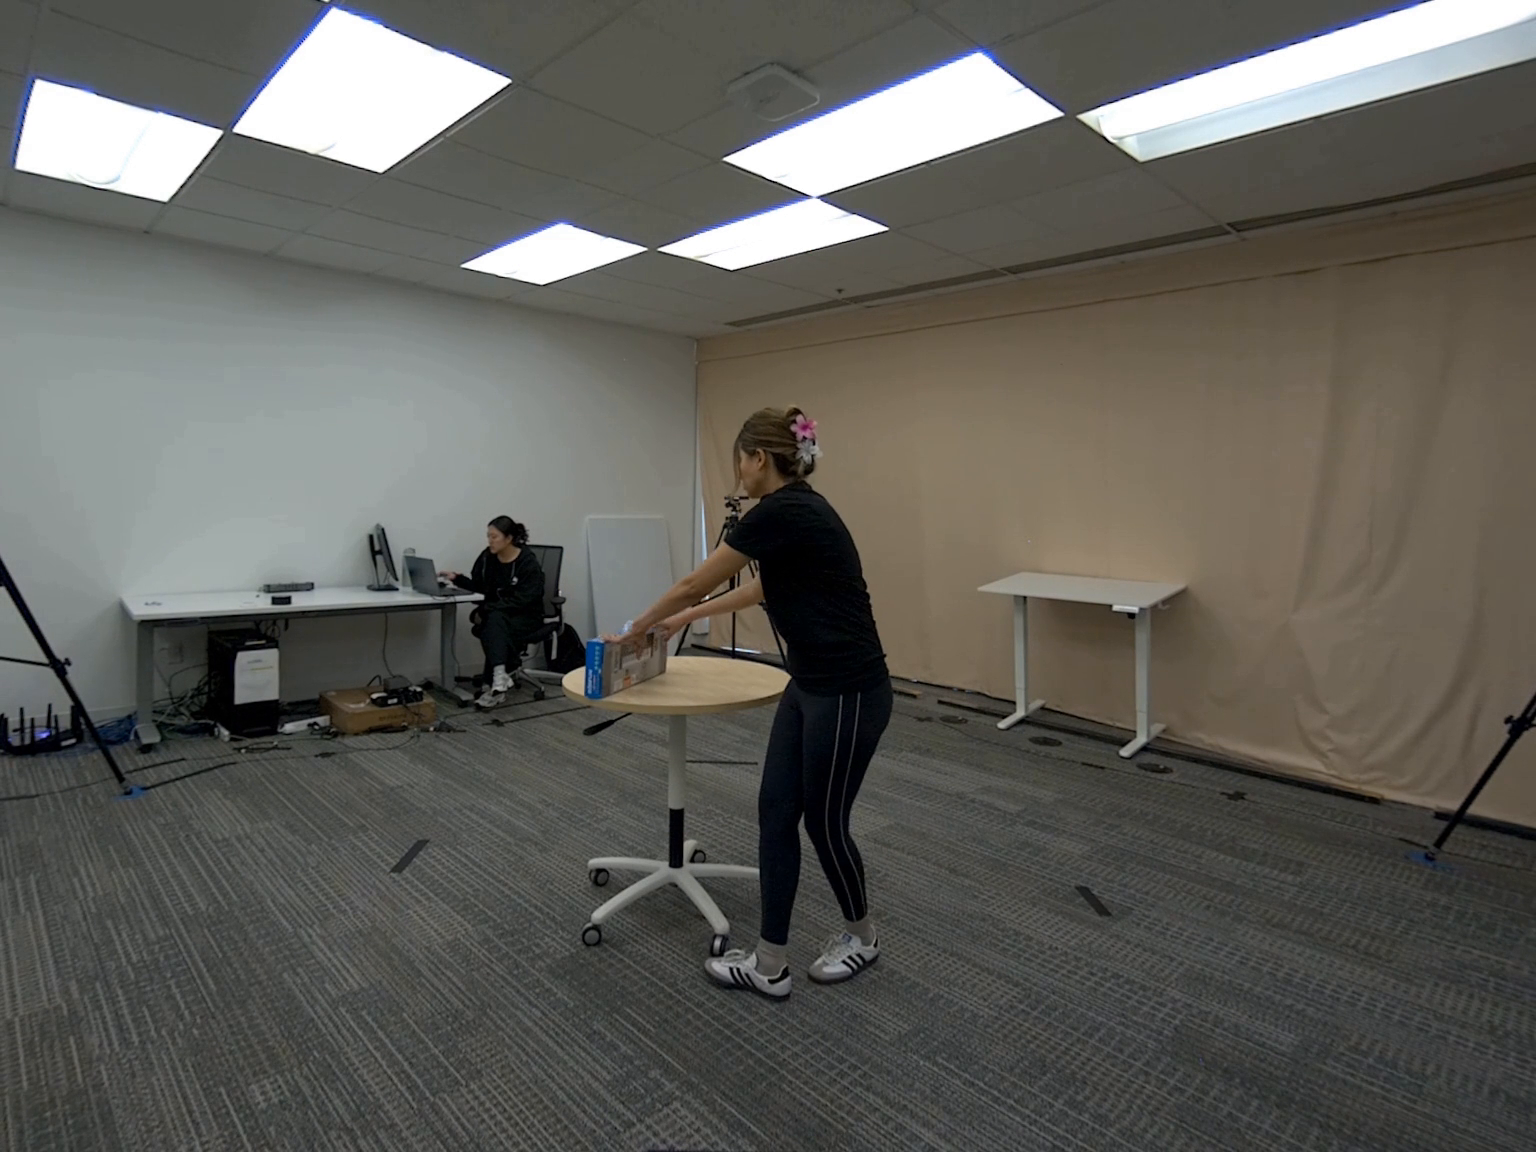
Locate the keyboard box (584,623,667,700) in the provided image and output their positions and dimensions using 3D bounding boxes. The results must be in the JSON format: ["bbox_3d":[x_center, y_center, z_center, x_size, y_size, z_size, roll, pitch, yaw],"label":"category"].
[{"bbox_3d":[-0.452,0.264,2.705,0.060,0.175,0.431,5,6,20],"label":"keyboard box"}]
